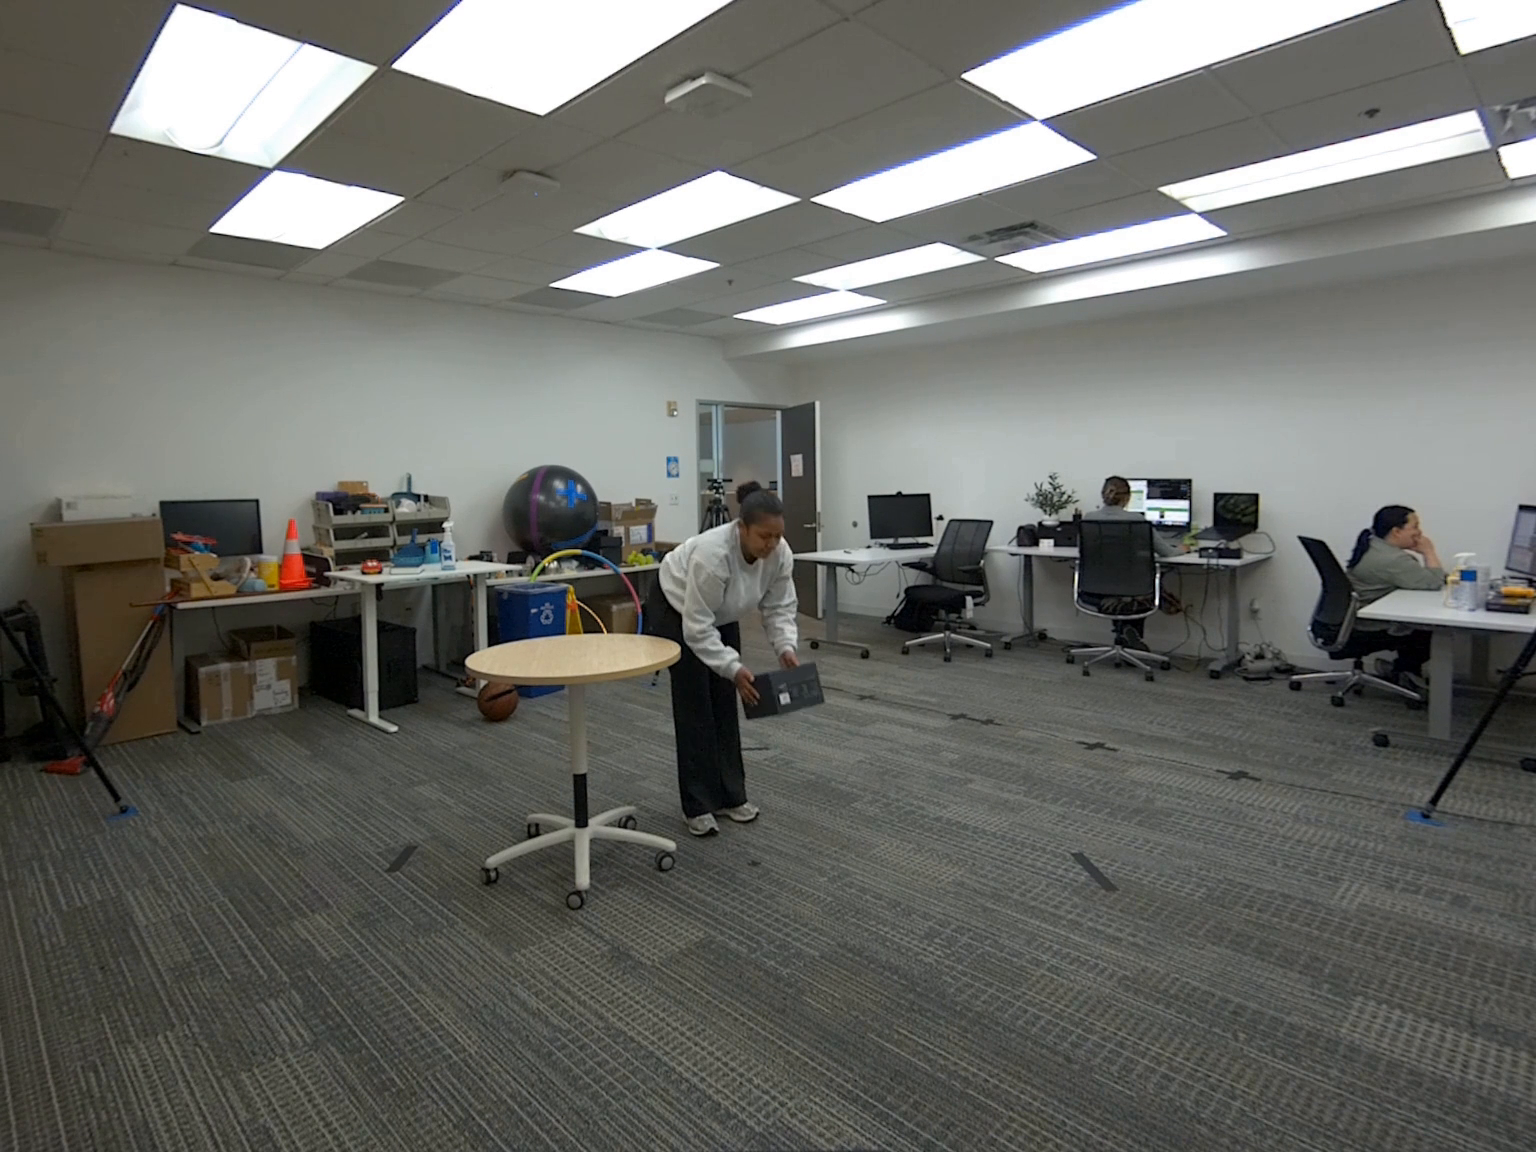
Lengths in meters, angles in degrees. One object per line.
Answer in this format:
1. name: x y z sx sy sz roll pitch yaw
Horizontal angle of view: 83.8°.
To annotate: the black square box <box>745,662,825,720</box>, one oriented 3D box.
1. black square box: 0.033 0.428 3.181 0.212 0.157 0.231 -8 -6 -32
